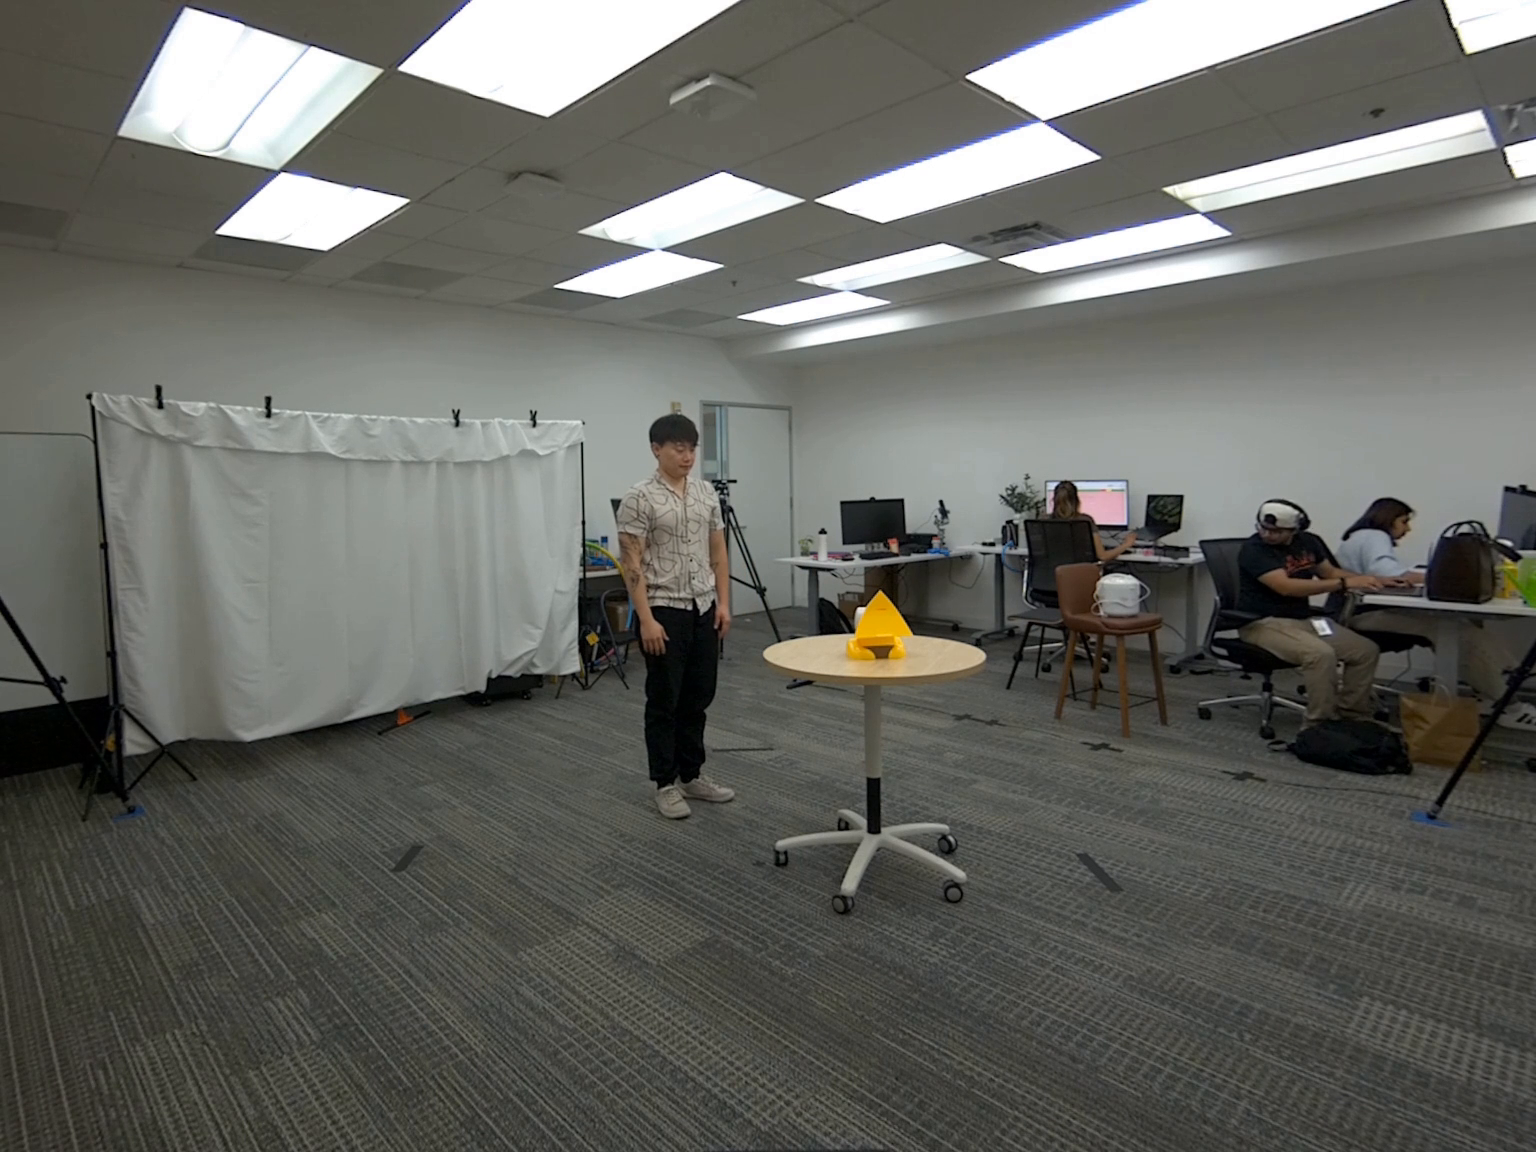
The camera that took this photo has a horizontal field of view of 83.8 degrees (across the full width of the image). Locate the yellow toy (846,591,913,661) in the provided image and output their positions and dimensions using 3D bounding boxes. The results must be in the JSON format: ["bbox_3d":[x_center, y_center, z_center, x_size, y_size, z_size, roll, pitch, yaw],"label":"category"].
[{"bbox_3d":[0.372,0.158,2.951,0.203,0.230,0.195,-2,5,-9],"label":"yellow toy"}]
